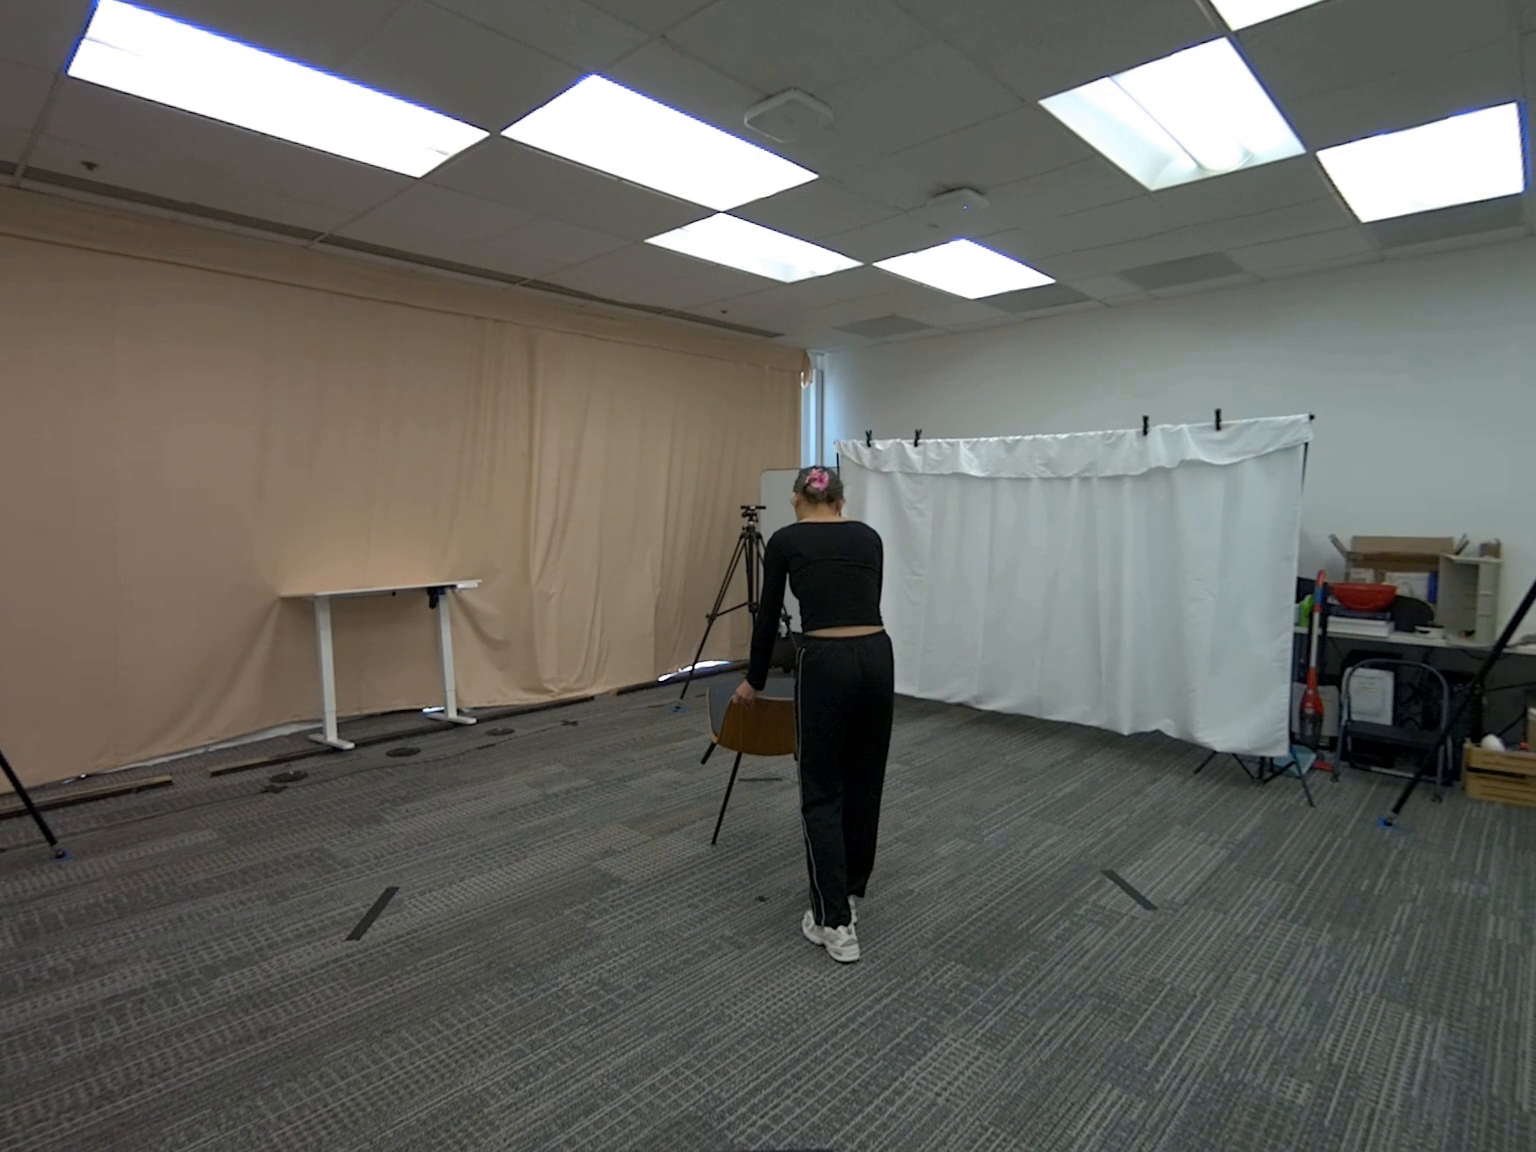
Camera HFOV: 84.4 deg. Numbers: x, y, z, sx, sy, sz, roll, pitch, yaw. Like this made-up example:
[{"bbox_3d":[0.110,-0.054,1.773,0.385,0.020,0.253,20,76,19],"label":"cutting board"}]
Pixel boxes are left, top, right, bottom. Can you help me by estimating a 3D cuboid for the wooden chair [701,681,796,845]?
[{"bbox_3d":[-0.014,0.612,3.447,0.474,0.864,0.536,-1,38,-9],"label":"wooden chair"}]
